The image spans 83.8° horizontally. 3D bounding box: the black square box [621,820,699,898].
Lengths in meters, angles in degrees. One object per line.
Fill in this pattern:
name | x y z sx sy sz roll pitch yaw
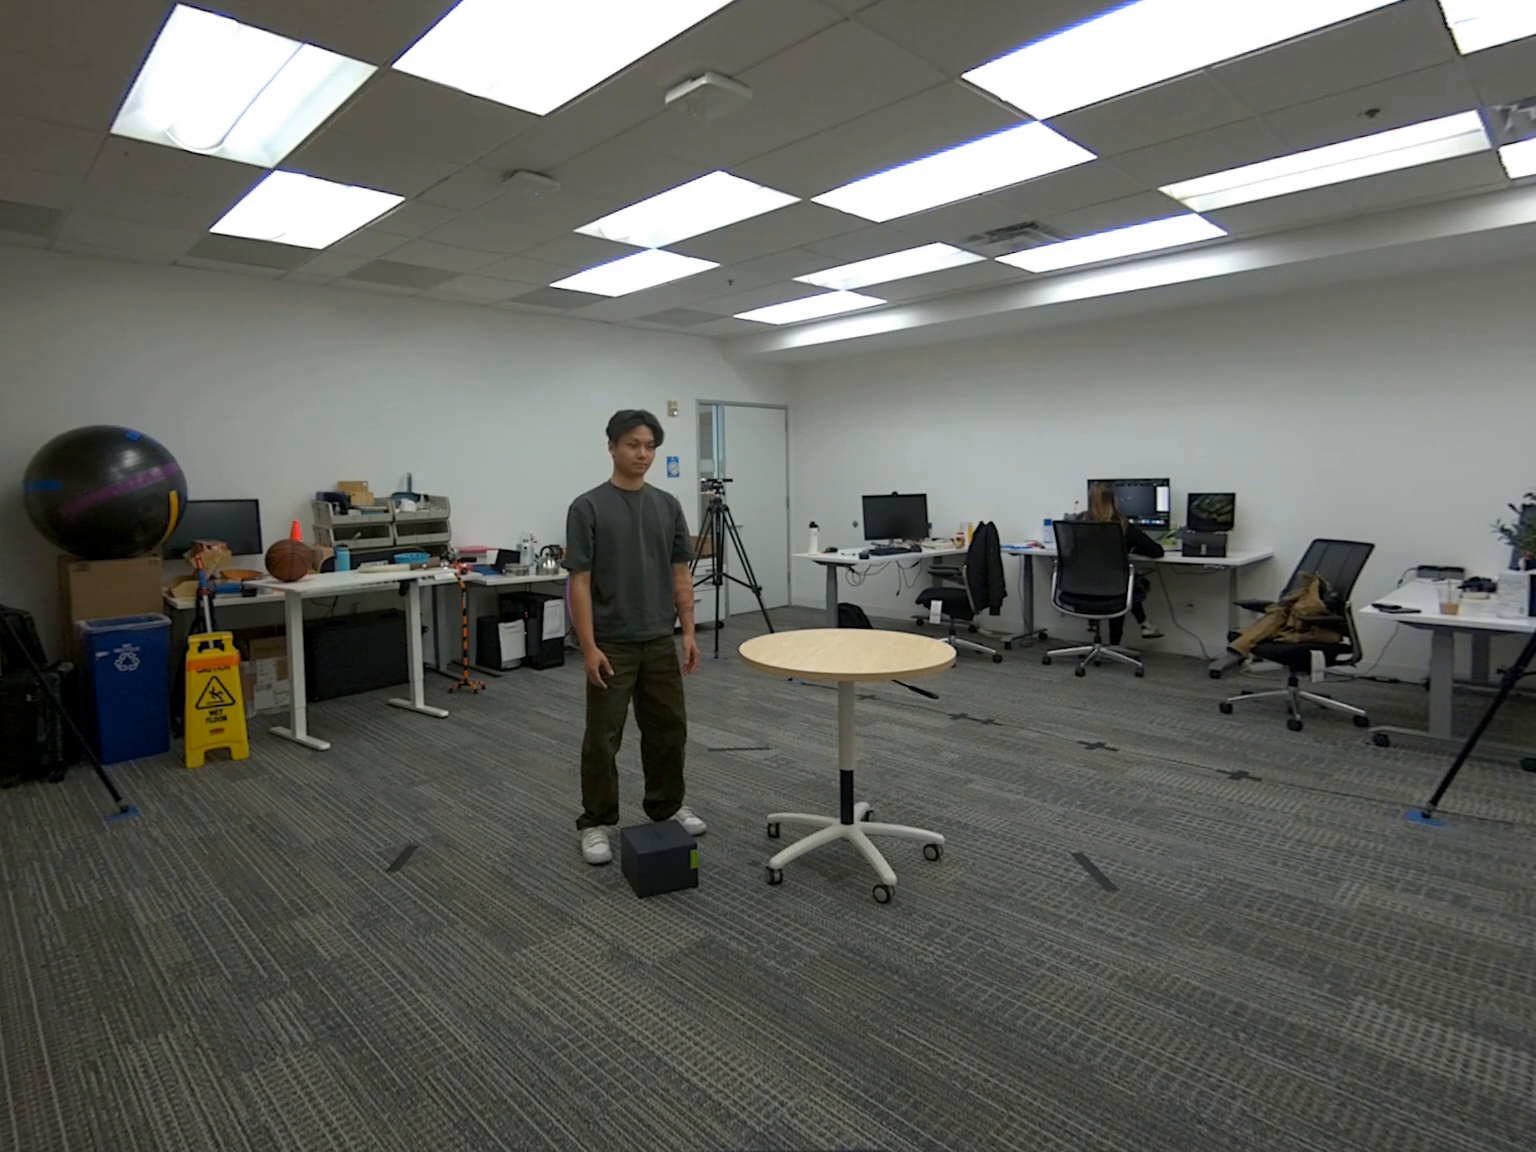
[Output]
black square box | -0.380 0.980 2.990 0.212 0.155 0.234 -3 7 -24
